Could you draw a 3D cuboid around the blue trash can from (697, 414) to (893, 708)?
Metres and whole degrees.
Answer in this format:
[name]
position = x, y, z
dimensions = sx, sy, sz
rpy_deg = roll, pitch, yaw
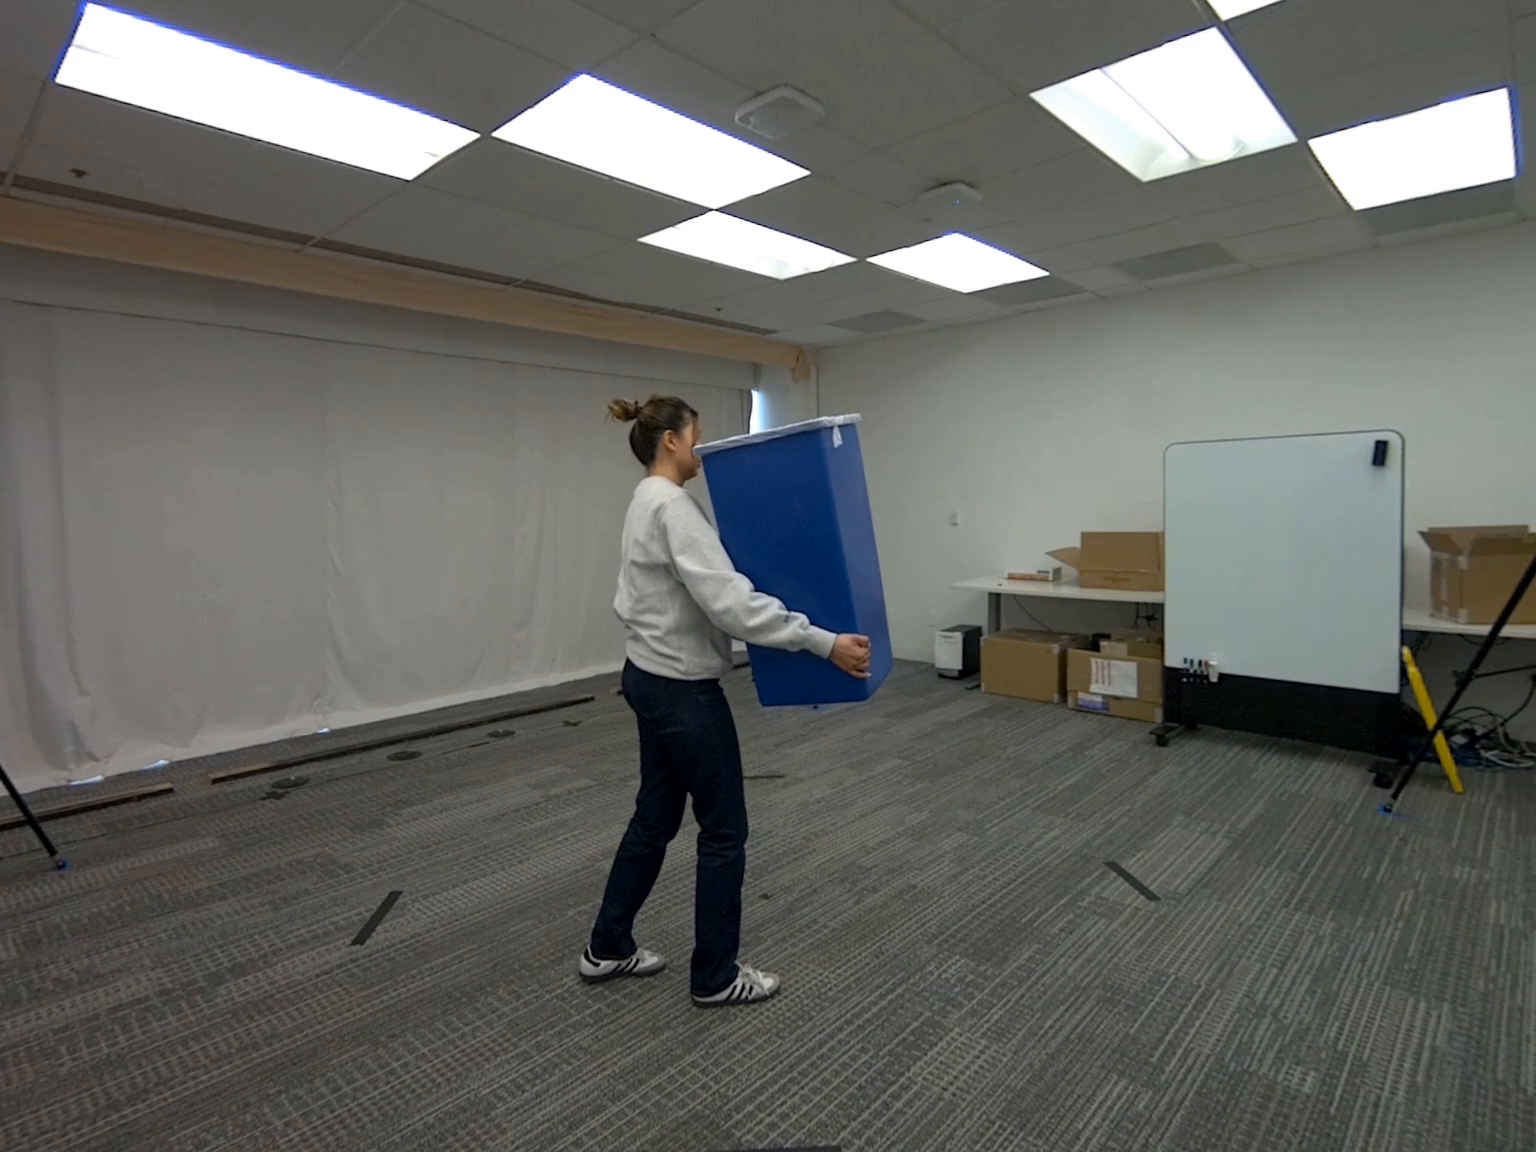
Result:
[blue trash can]
position = 0.098, -0.047, 2.263
dimensions = 0.382, 0.710, 0.371
rpy_deg = -9, 6, 24
